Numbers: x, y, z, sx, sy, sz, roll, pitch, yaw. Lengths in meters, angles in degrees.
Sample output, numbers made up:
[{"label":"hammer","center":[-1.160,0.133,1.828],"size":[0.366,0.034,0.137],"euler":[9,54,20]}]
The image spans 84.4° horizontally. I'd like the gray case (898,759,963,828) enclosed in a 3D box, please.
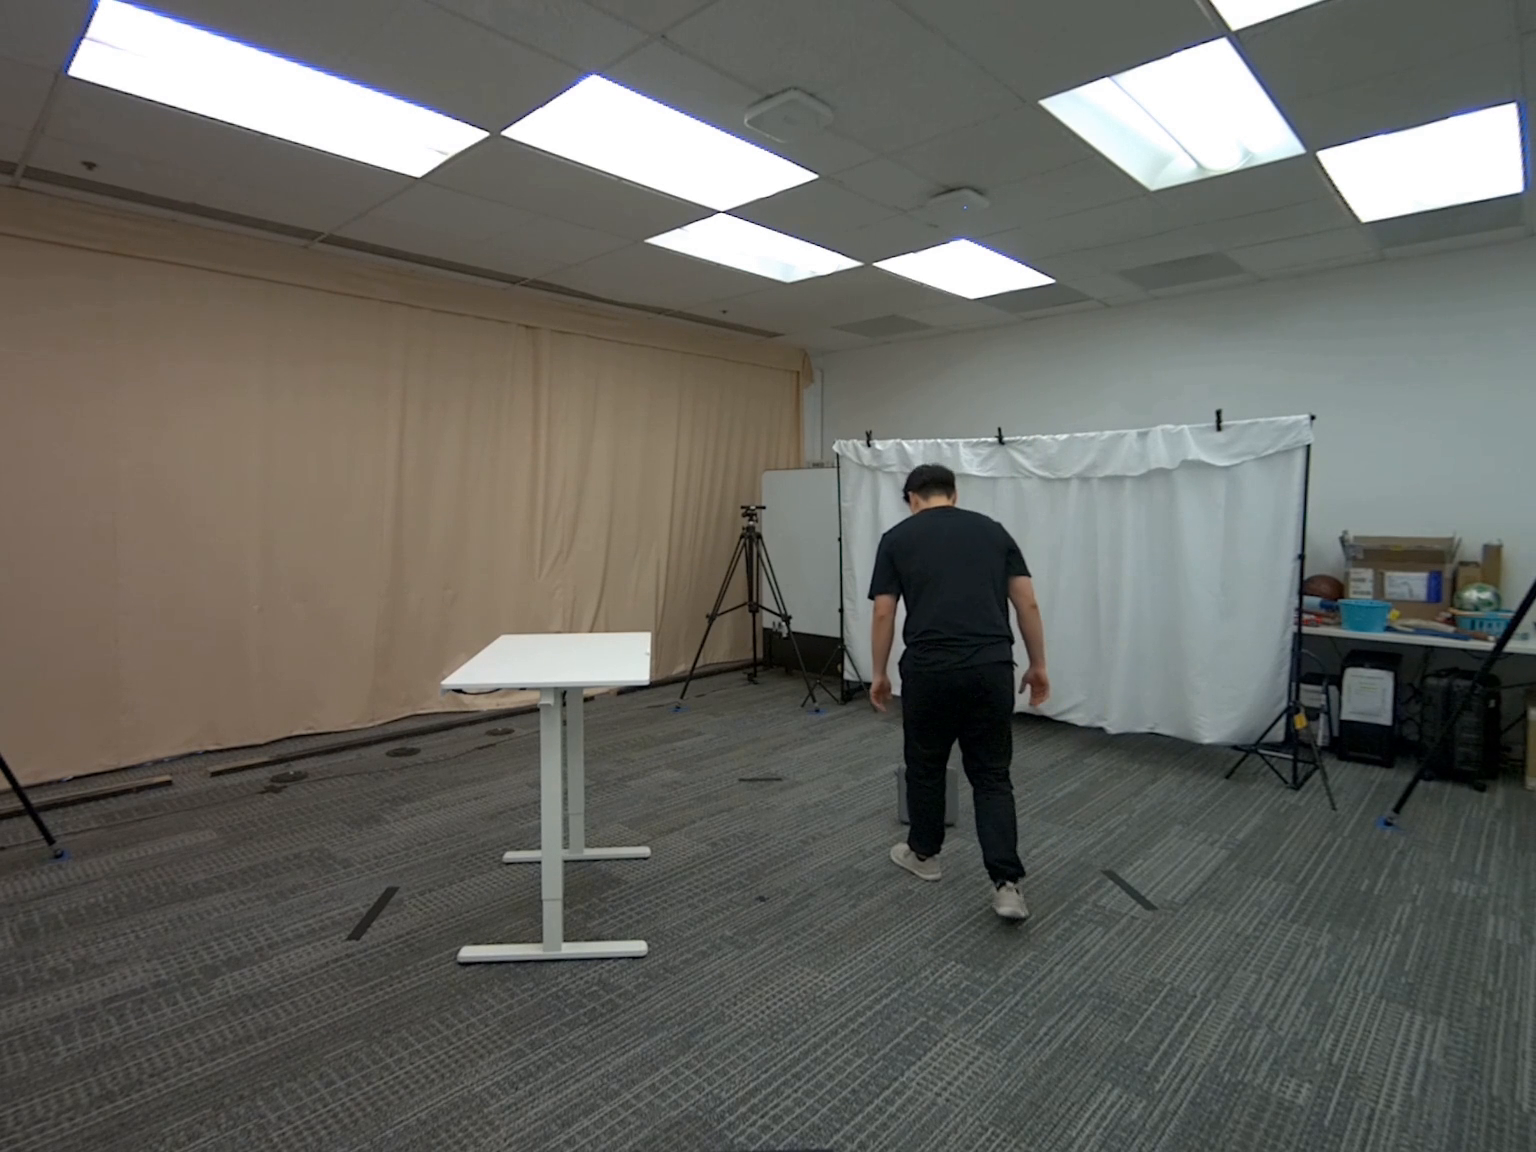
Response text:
[{"label":"gray case","center":[0.707,0.949,3.714],"size":[0.258,0.261,0.103],"euler":[1,-5,6]}]
